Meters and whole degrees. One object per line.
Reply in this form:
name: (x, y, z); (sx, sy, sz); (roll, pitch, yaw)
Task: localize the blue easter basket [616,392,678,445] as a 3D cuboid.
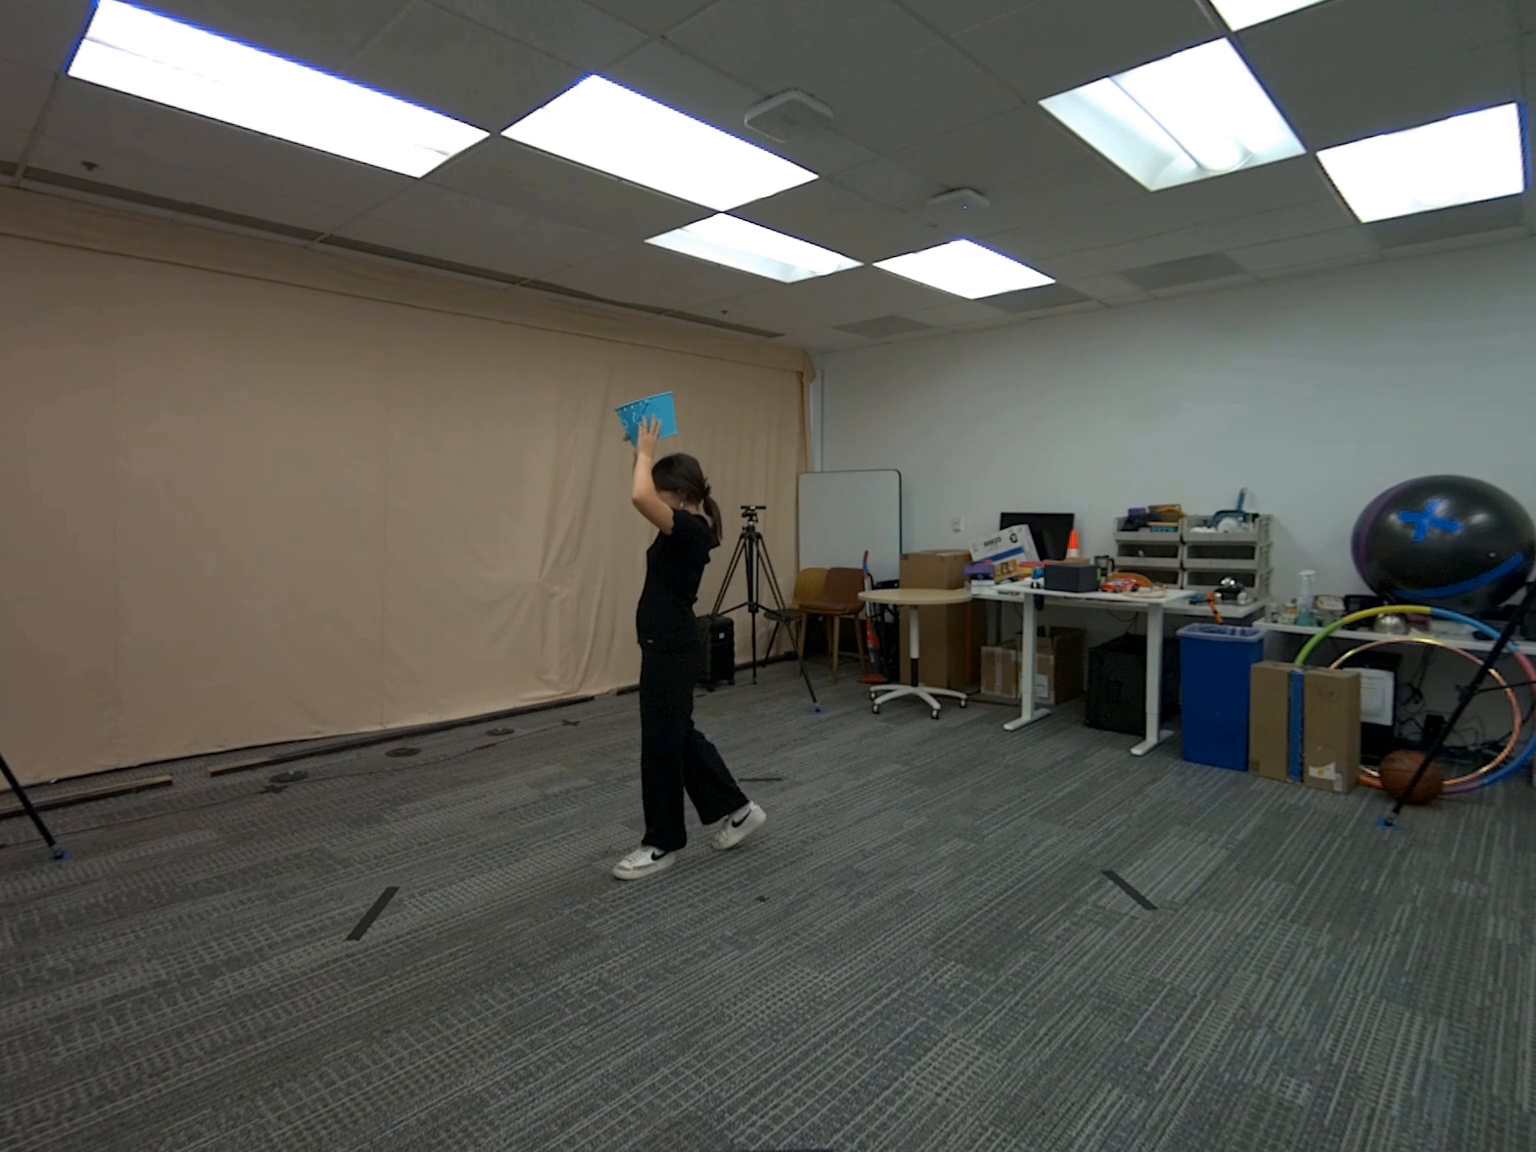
blue easter basket: (-0.453, -0.583, 3.176); (0.244, 0.154, 0.245); (-18, 10, 1)
